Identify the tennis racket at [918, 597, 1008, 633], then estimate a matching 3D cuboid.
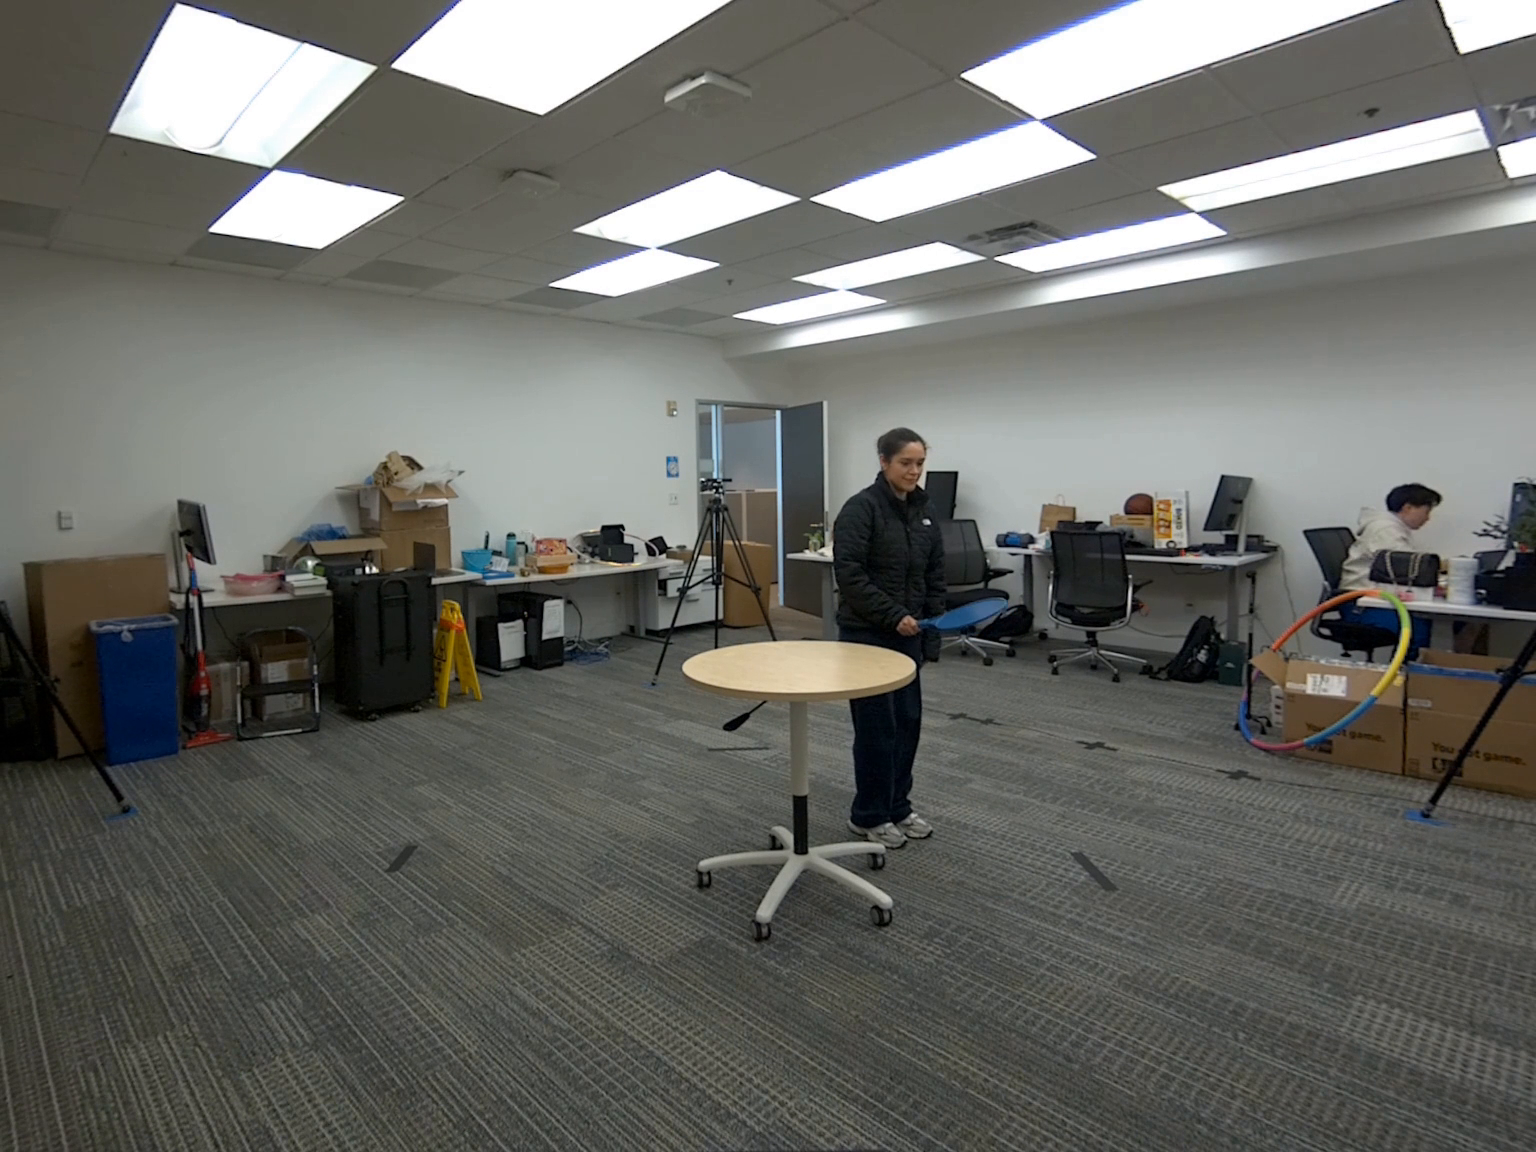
[{"bbox_3d":[0.655,0.151,3.052,0.441,0.031,0.211,-16,13,46],"label":"tennis racket"}]
